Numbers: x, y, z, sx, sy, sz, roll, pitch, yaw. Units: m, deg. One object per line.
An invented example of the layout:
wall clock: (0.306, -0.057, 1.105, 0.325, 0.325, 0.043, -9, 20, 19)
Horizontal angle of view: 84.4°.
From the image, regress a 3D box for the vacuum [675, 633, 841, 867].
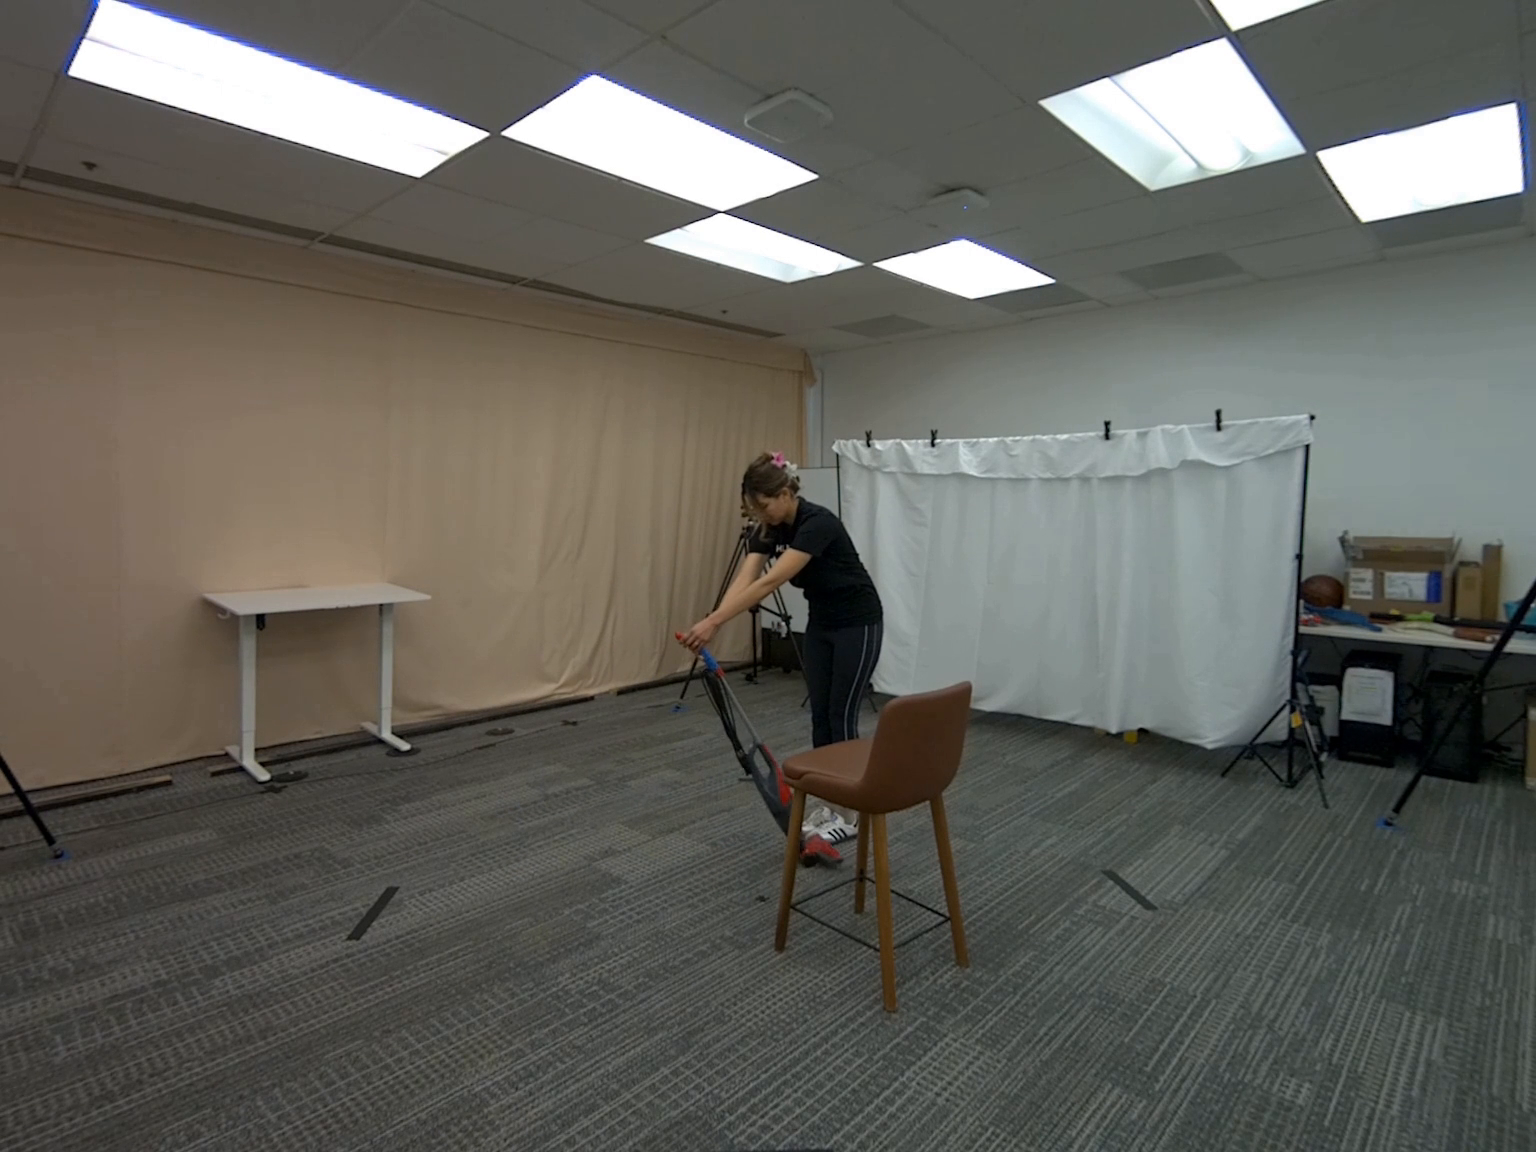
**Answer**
vacuum: (-0.086, 0.660, 3.224, 0.143, 1.039, 0.256, -33, 9, -11)
